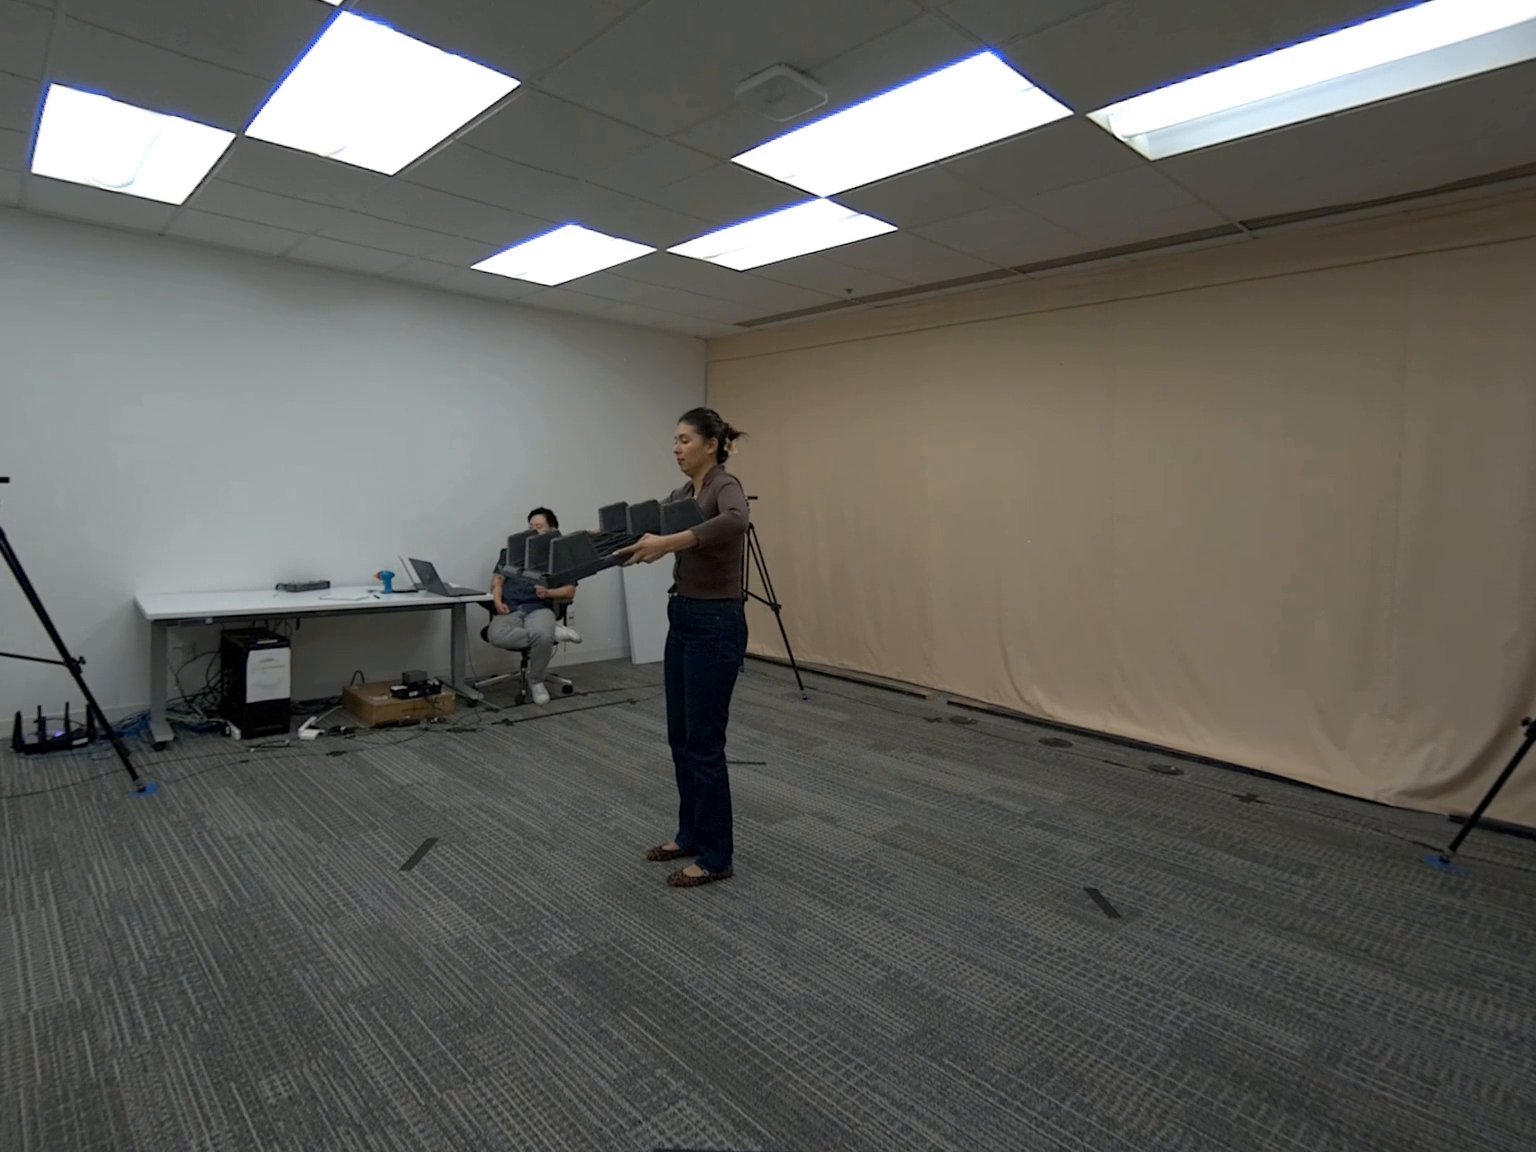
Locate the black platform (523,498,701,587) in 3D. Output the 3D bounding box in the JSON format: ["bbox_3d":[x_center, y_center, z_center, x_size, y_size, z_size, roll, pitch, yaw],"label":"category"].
[{"bbox_3d":[-0.616,-0.135,2.940,0.598,0.142,0.822,-21,13,-26],"label":"black platform"}]
